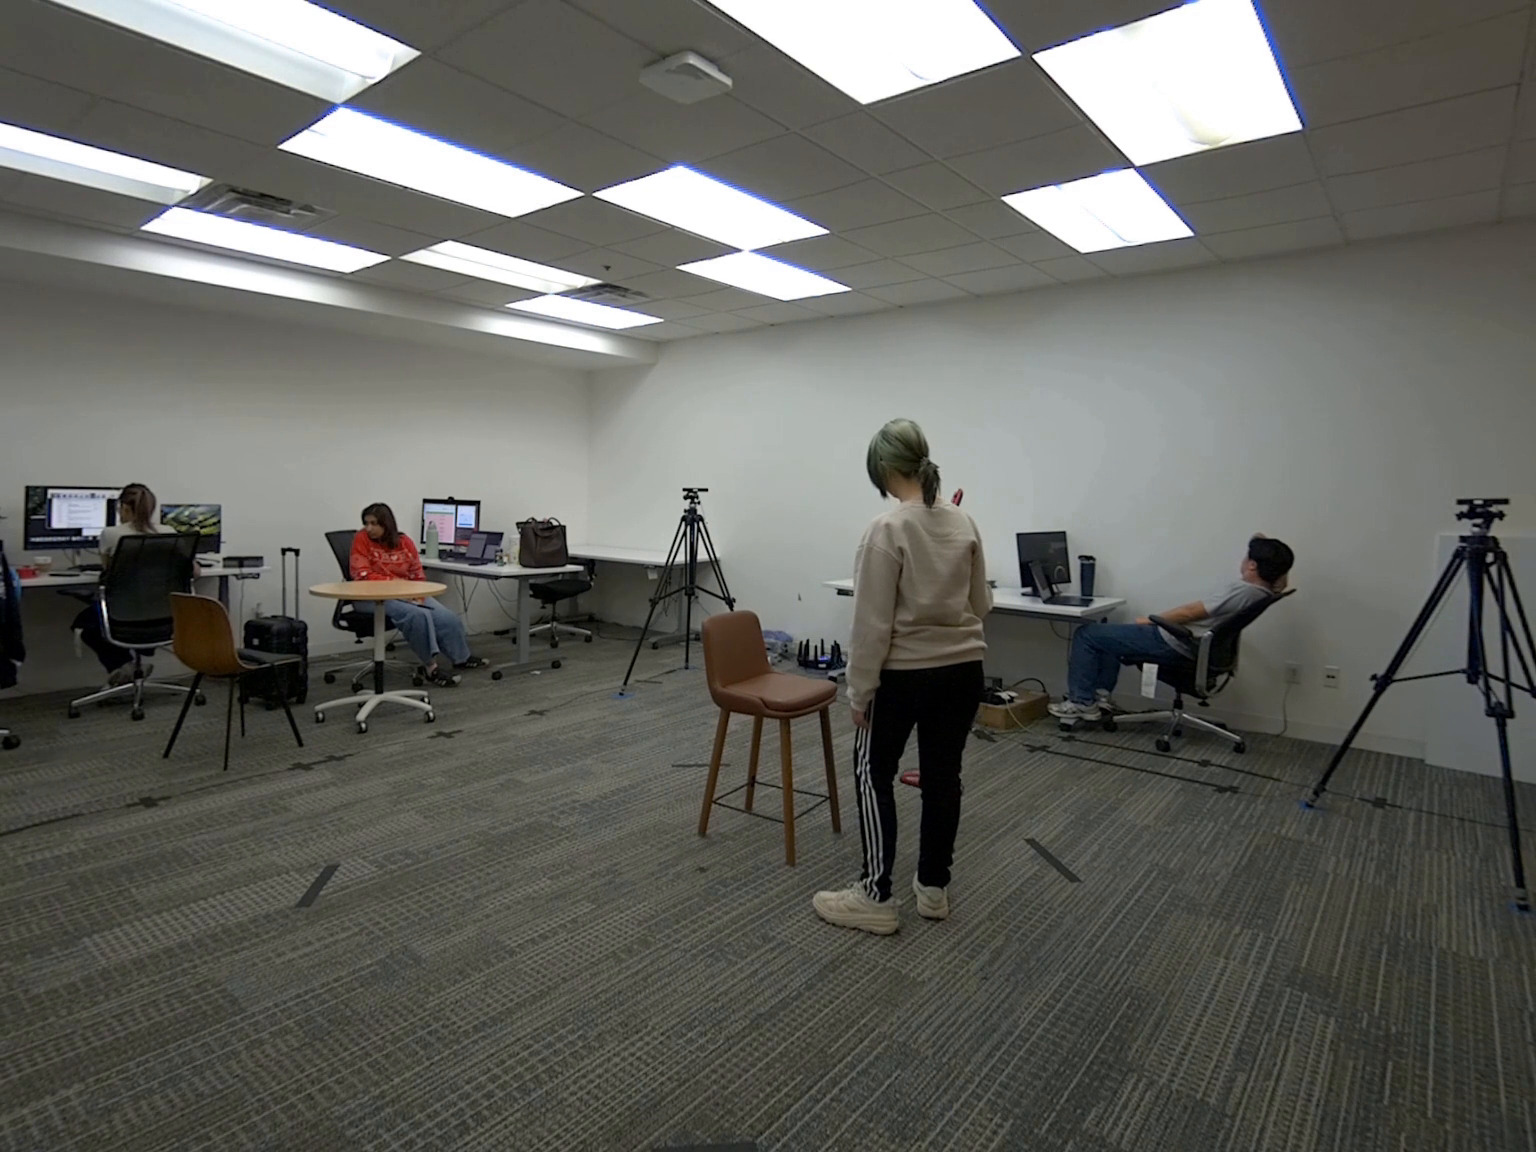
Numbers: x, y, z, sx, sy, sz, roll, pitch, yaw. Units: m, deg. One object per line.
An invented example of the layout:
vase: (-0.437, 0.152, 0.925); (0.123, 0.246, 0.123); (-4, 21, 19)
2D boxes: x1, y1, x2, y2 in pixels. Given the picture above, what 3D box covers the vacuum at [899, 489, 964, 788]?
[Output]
vacuum: (0.652, 0.210, 3.131); (0.139, 1.051, 0.261); (6, -3, -42)
